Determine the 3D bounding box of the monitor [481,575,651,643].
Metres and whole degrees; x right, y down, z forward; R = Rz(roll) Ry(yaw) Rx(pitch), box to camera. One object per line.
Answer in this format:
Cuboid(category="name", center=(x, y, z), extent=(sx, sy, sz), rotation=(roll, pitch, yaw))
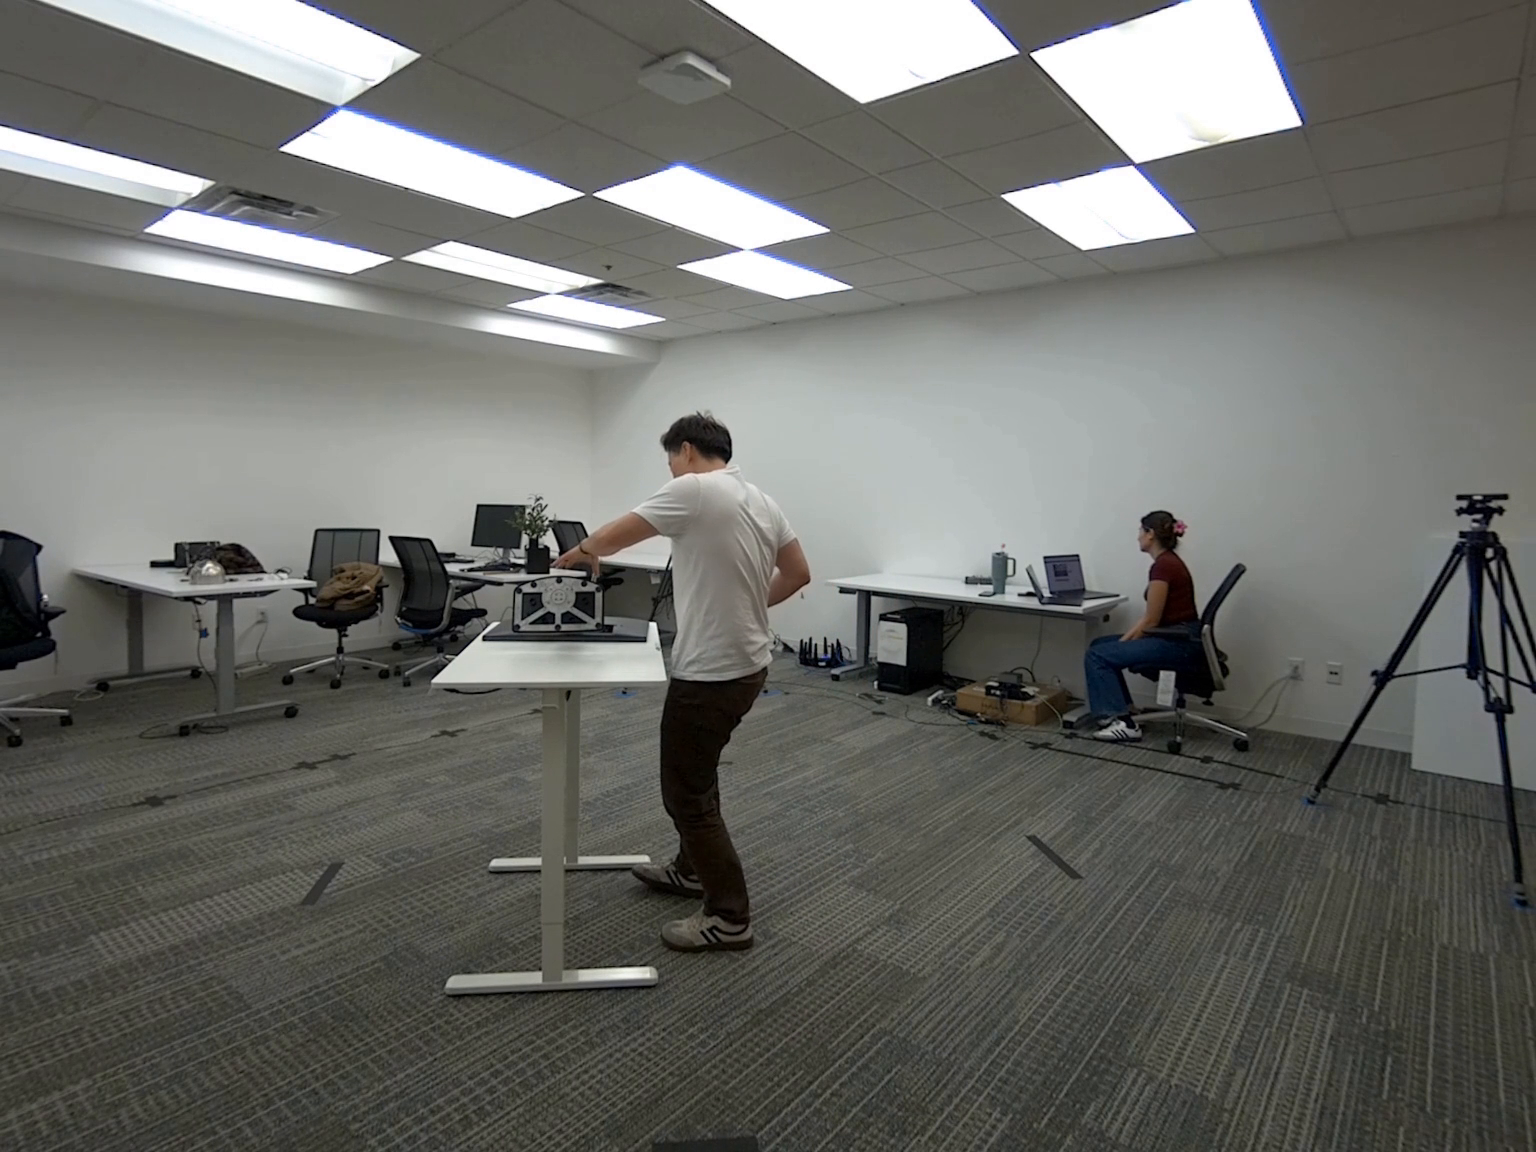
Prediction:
Cuboid(category="monitor", center=(-0.691, 0.141, 2.864), extent=(0.536, 0.189, 0.518), rotation=(2, -12, -5))
